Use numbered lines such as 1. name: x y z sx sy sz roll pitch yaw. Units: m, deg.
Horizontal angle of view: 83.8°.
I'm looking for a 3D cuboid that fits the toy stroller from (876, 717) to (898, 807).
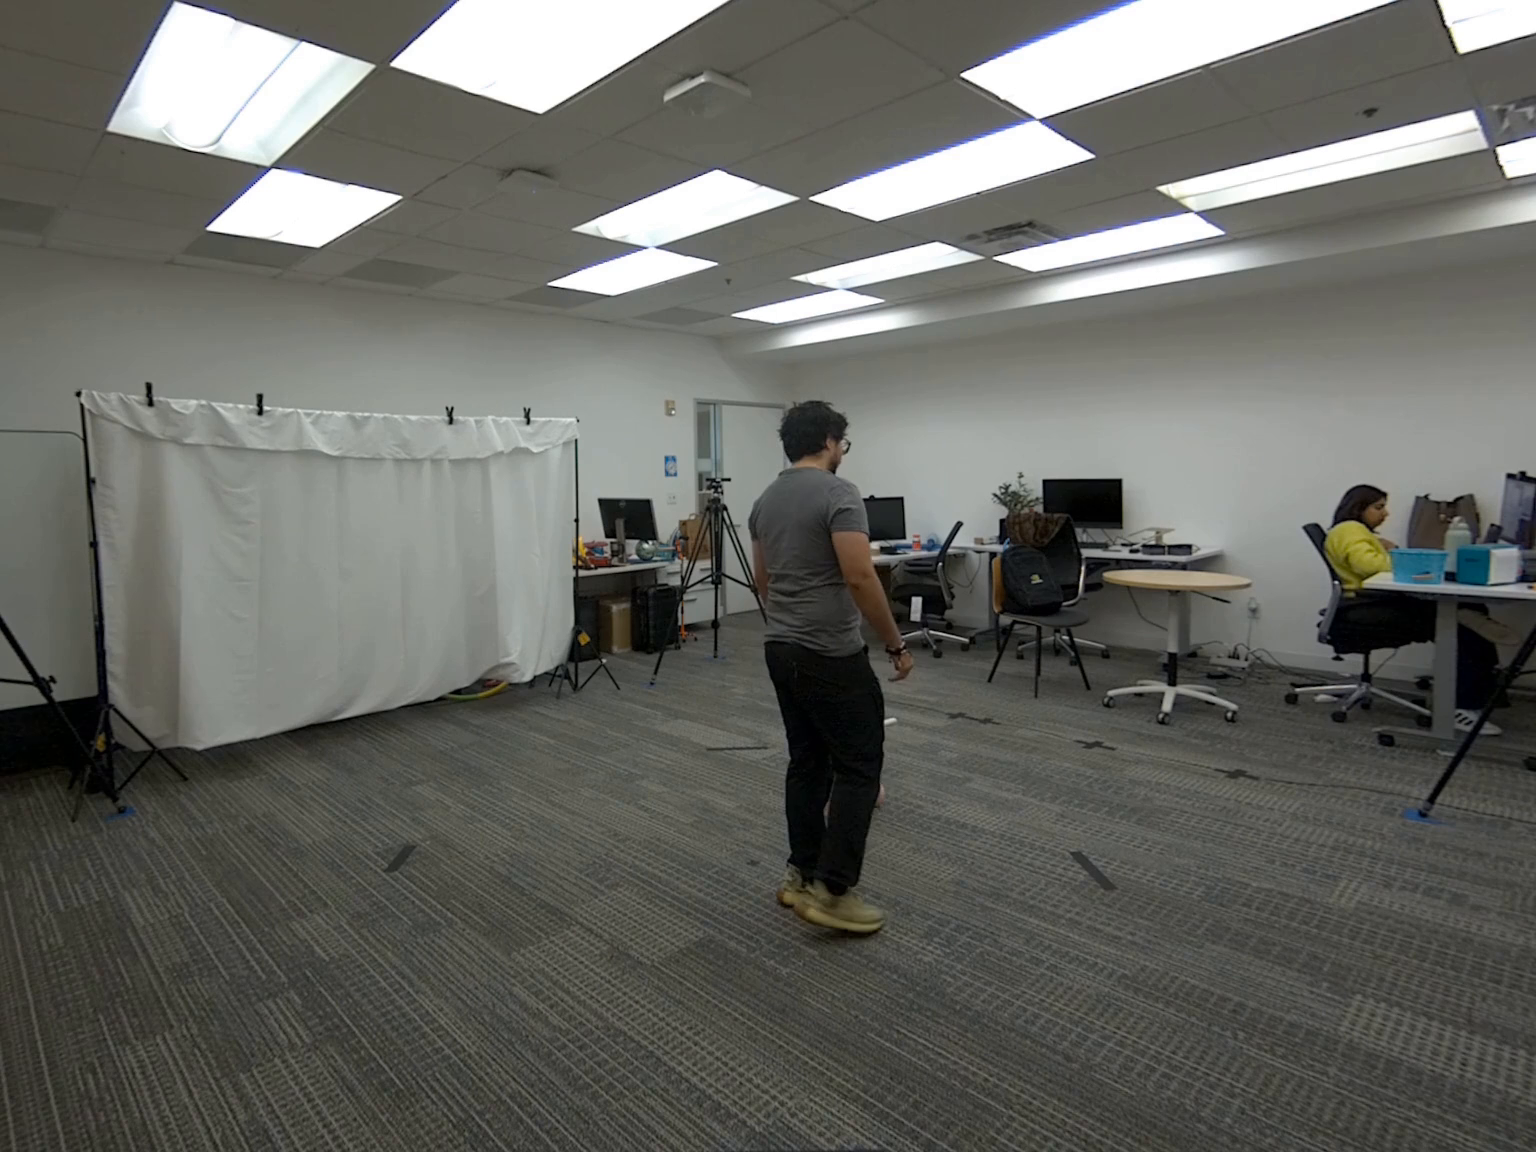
1. toy stroller: 0.328 0.761 3.596 0.274 0.528 0.354 -4 23 -35
